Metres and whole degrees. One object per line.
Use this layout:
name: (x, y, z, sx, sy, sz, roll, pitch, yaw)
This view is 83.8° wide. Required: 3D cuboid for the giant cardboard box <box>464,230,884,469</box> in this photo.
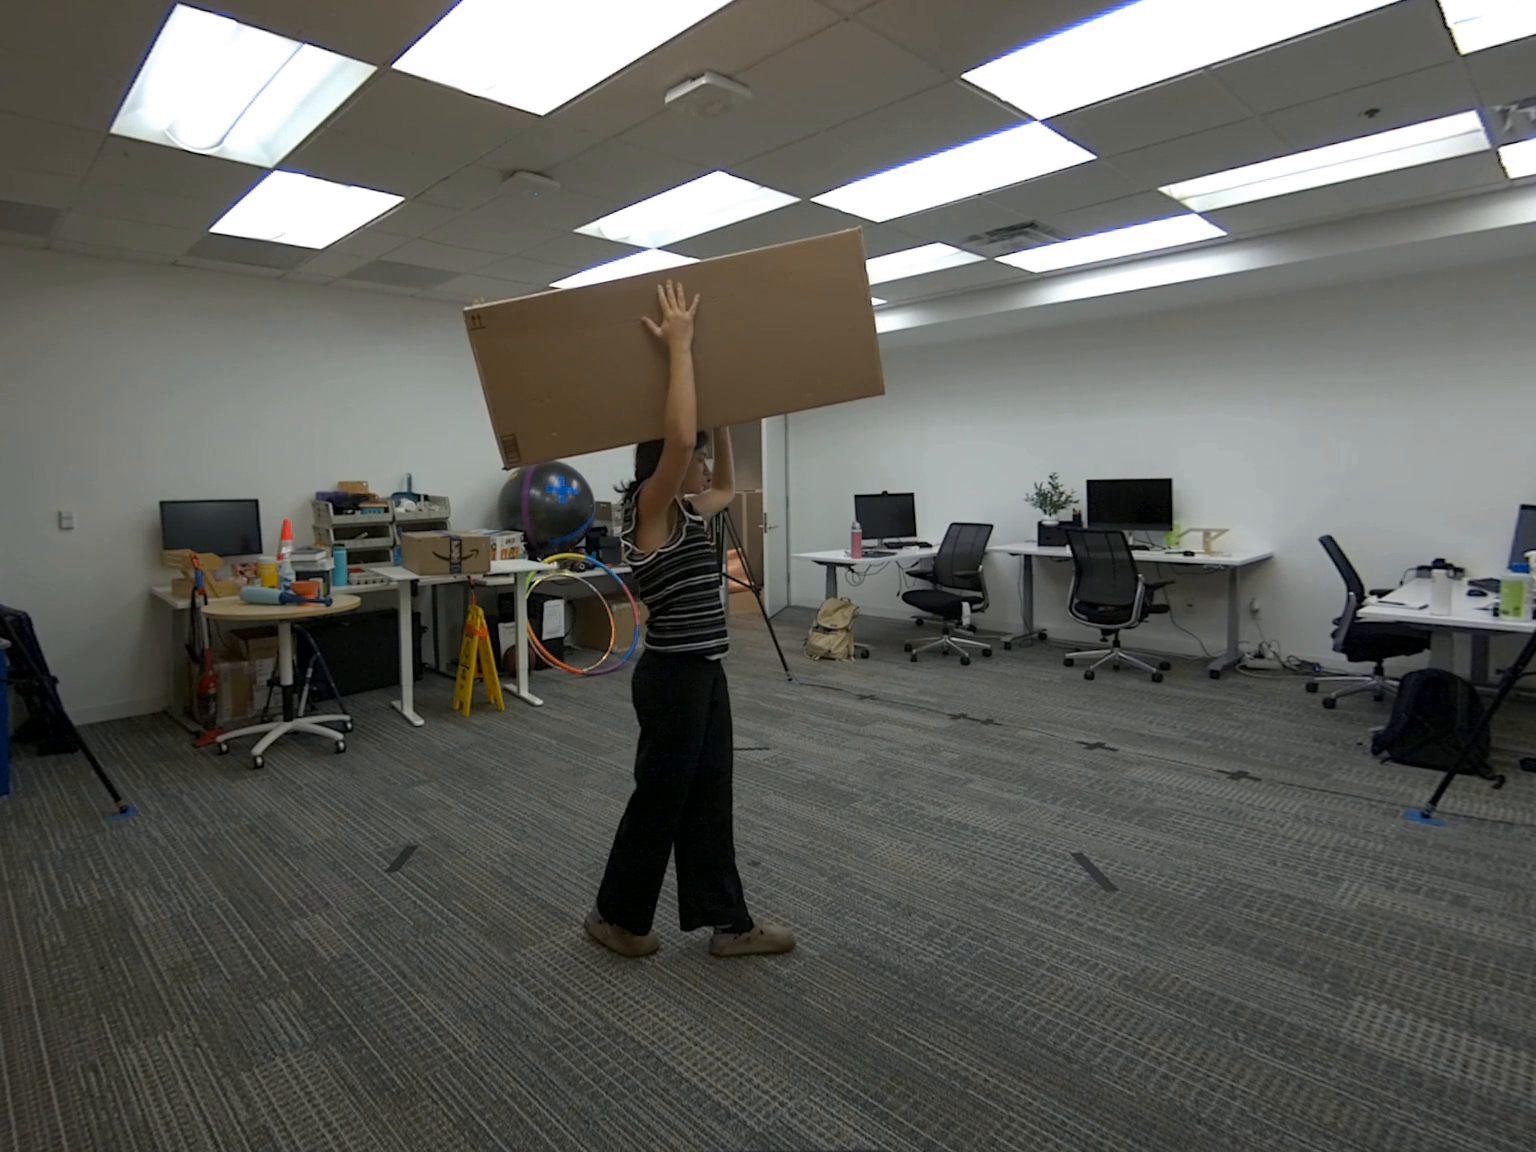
giant cardboard box: (-0.252, -0.659, 2.450, 1.027, 0.419, 0.587, -11, 18, 1)
